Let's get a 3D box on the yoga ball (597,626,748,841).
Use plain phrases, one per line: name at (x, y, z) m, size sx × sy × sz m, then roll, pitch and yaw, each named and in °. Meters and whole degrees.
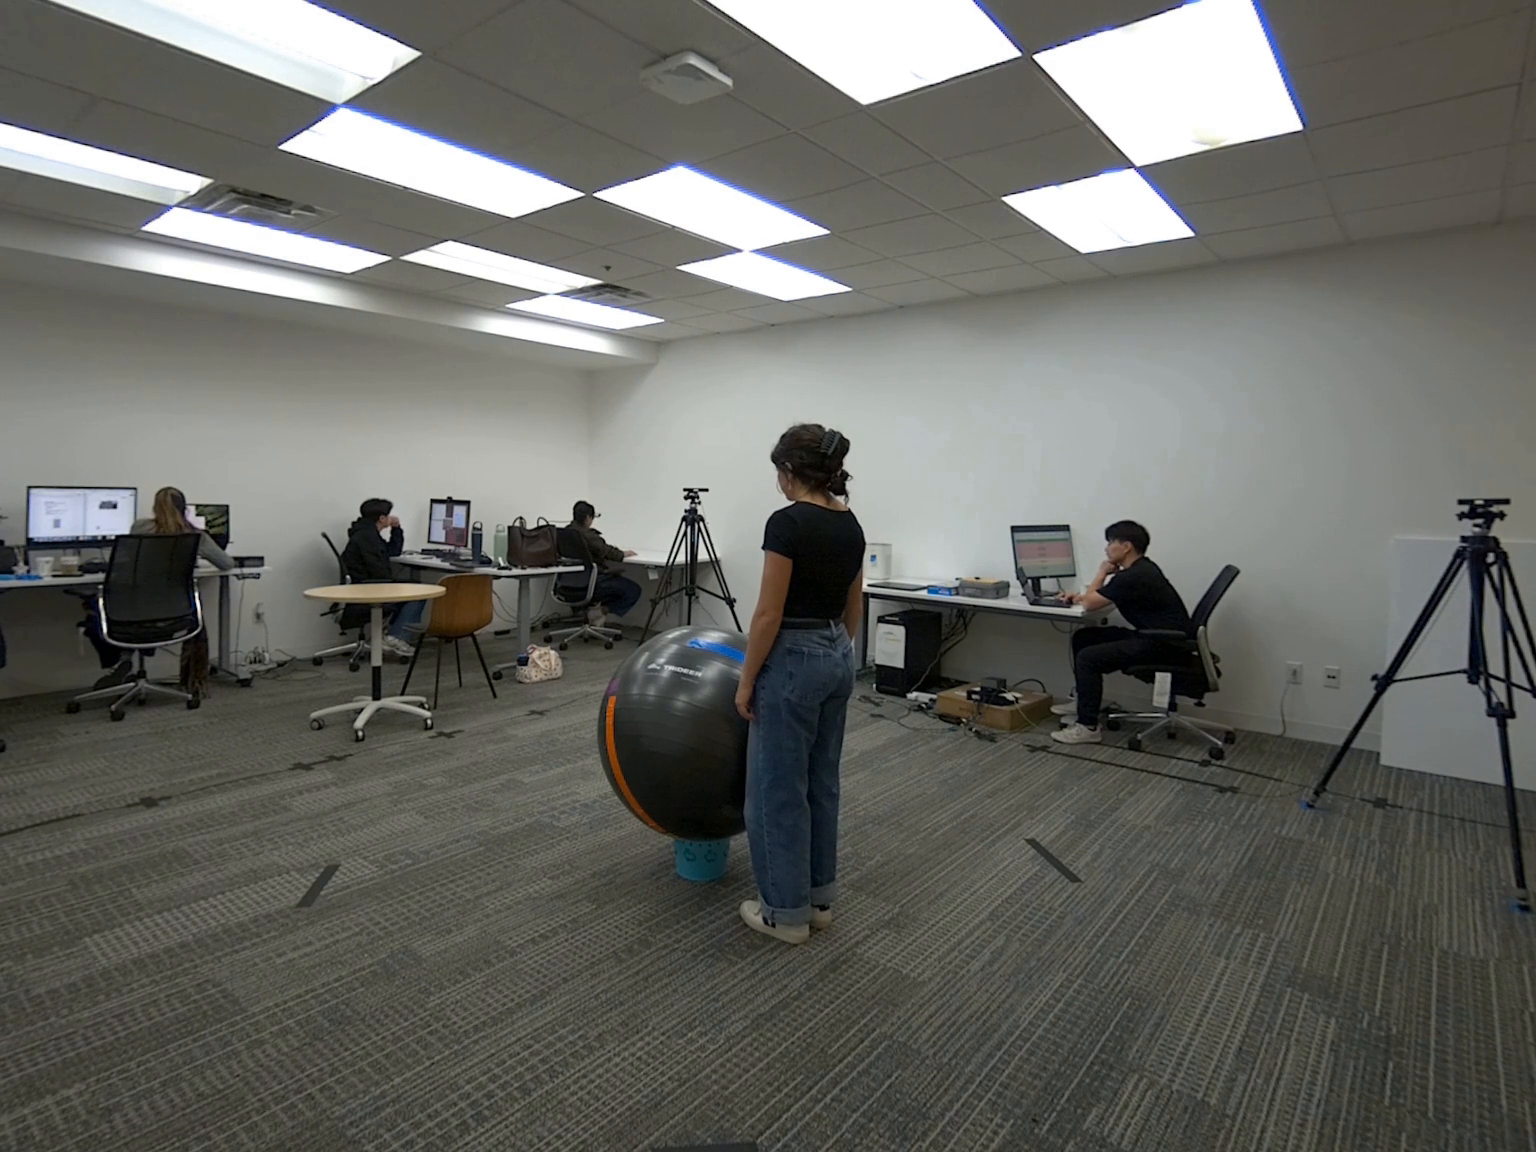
yoga ball at (-0.247, 0.558, 3.087) m, size 0.757 × 0.756 × 0.762 m, roll 1°, pitch 4°, yaw -2°
